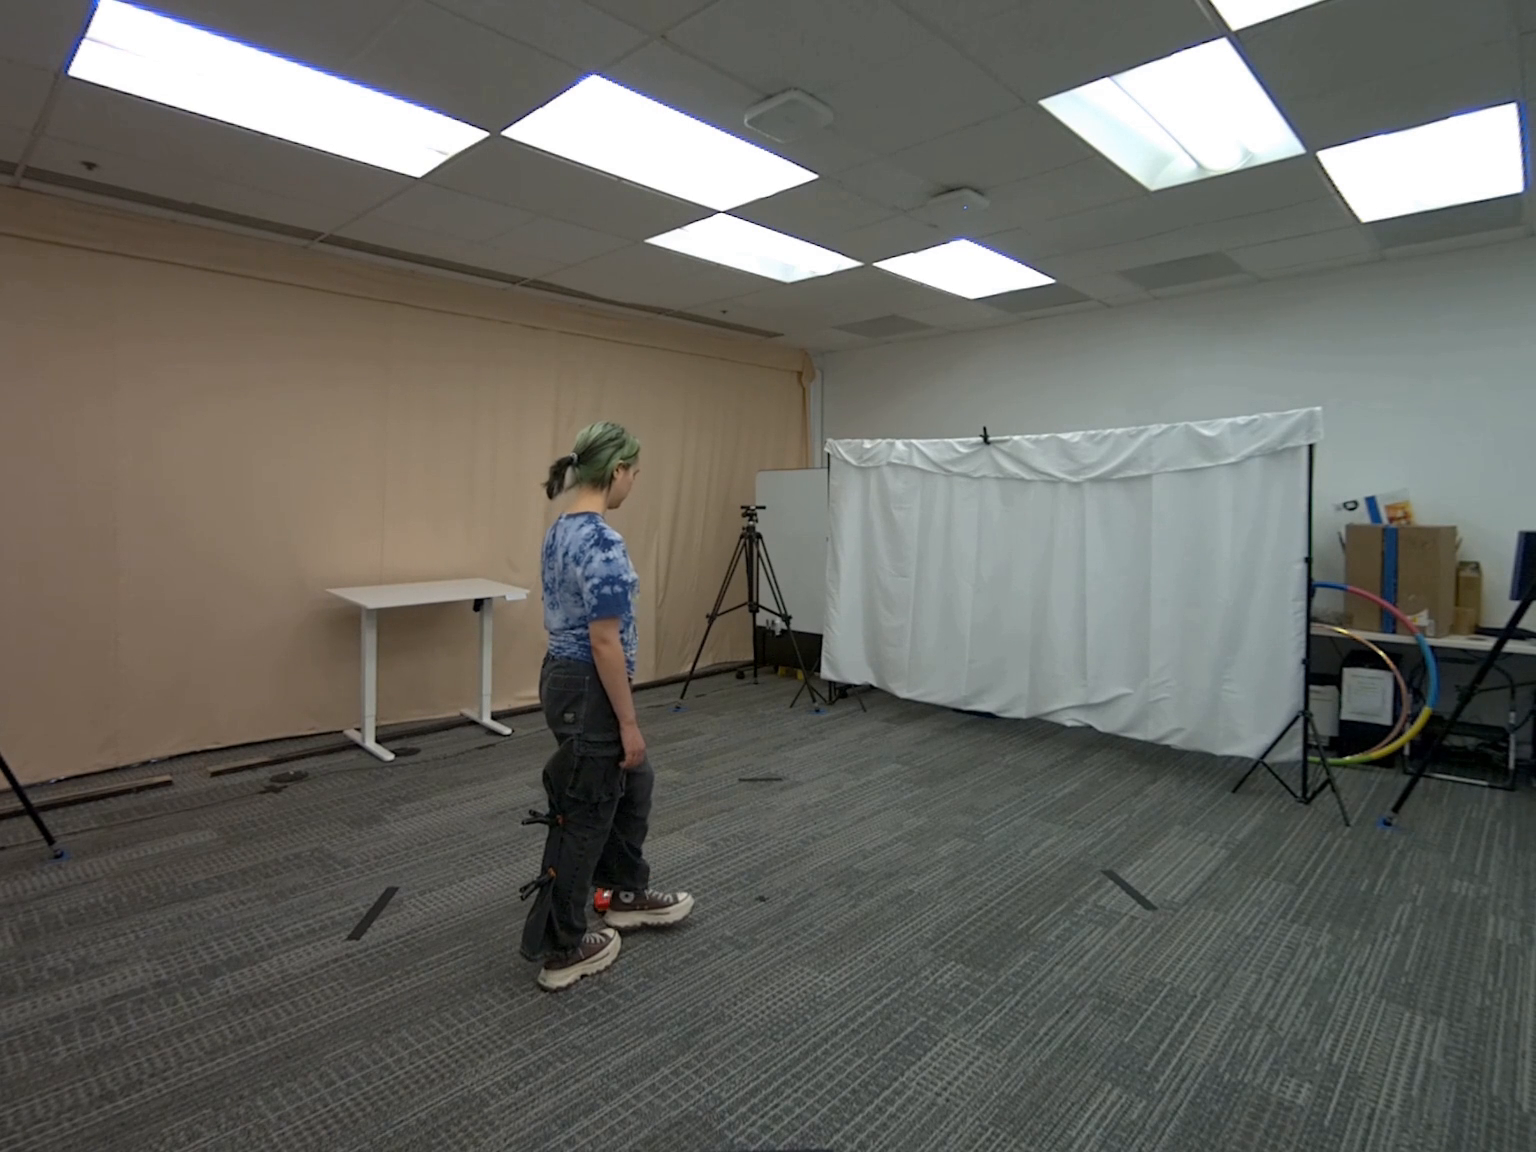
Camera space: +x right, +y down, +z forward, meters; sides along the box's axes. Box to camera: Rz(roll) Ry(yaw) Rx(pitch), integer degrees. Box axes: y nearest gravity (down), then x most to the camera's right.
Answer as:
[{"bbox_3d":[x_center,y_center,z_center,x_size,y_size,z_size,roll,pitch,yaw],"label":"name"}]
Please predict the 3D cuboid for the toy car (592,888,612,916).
[{"bbox_3d":[-0.556,1.120,2.959,0.129,0.083,0.255,0,-7,-7],"label":"toy car"}]
